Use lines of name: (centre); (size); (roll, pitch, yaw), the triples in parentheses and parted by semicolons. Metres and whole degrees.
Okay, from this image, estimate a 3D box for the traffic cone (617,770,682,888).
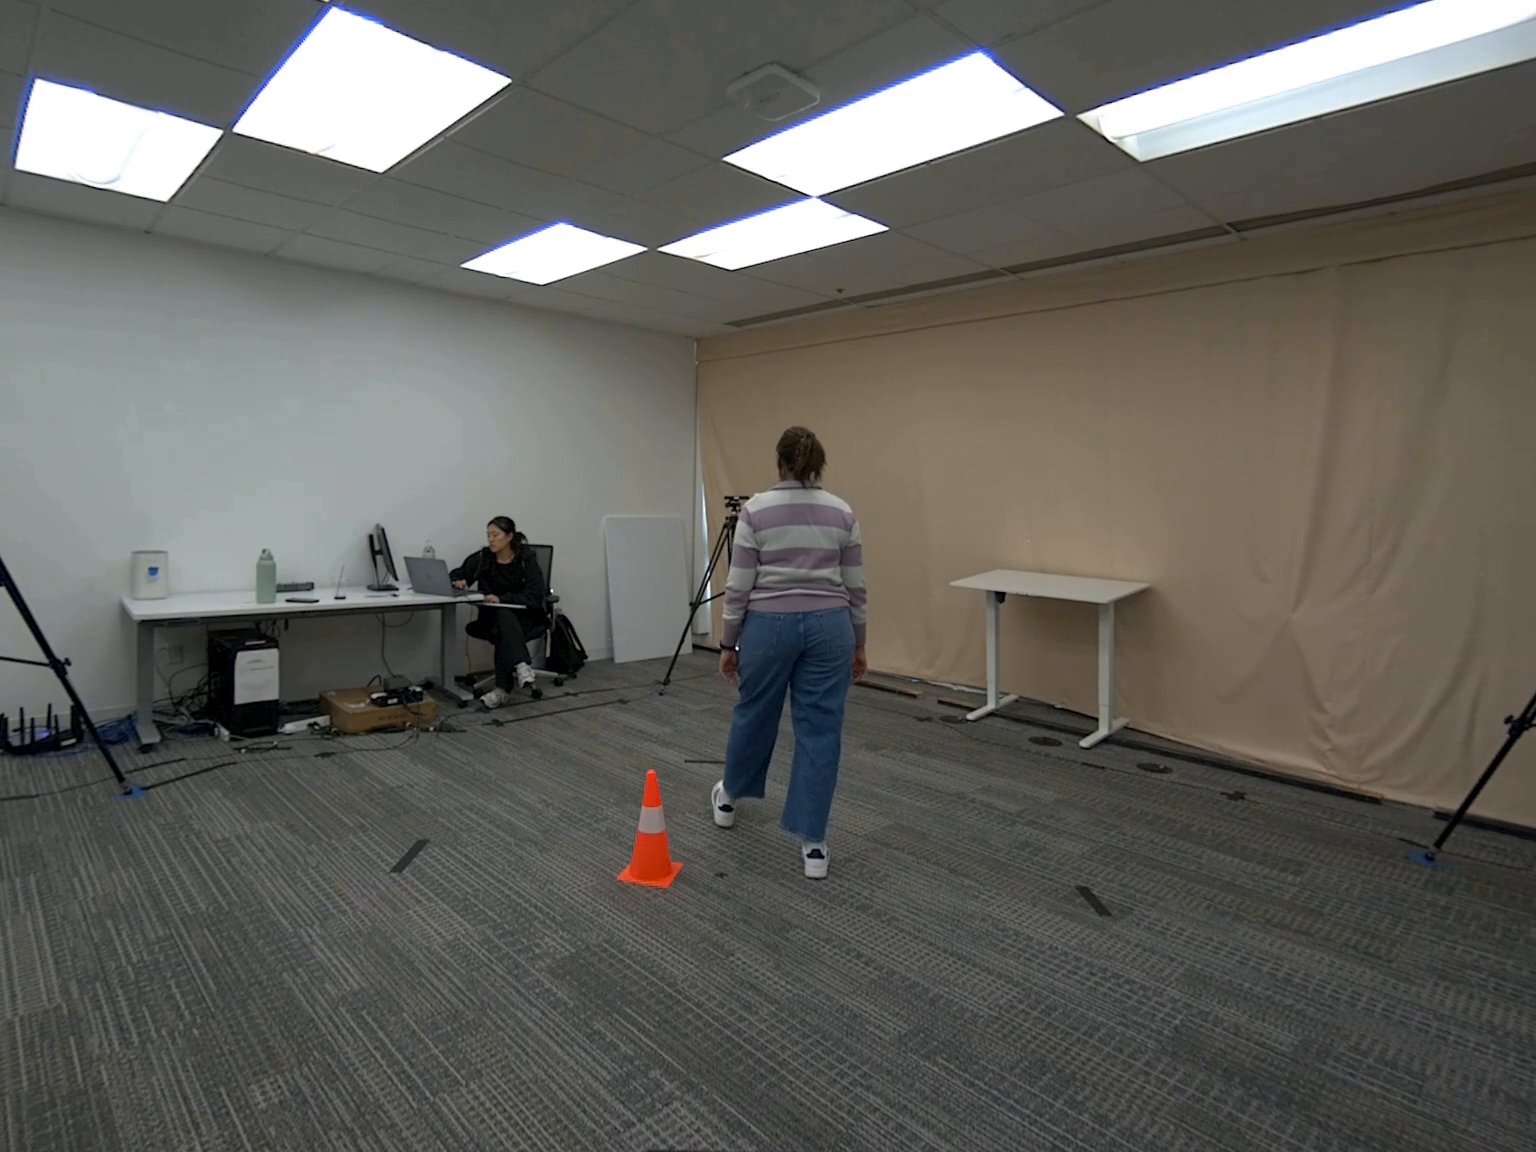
traffic cone: (-0.437, 0.912, 3.100); (0.205, 0.382, 0.203); (2, 4, 12)
